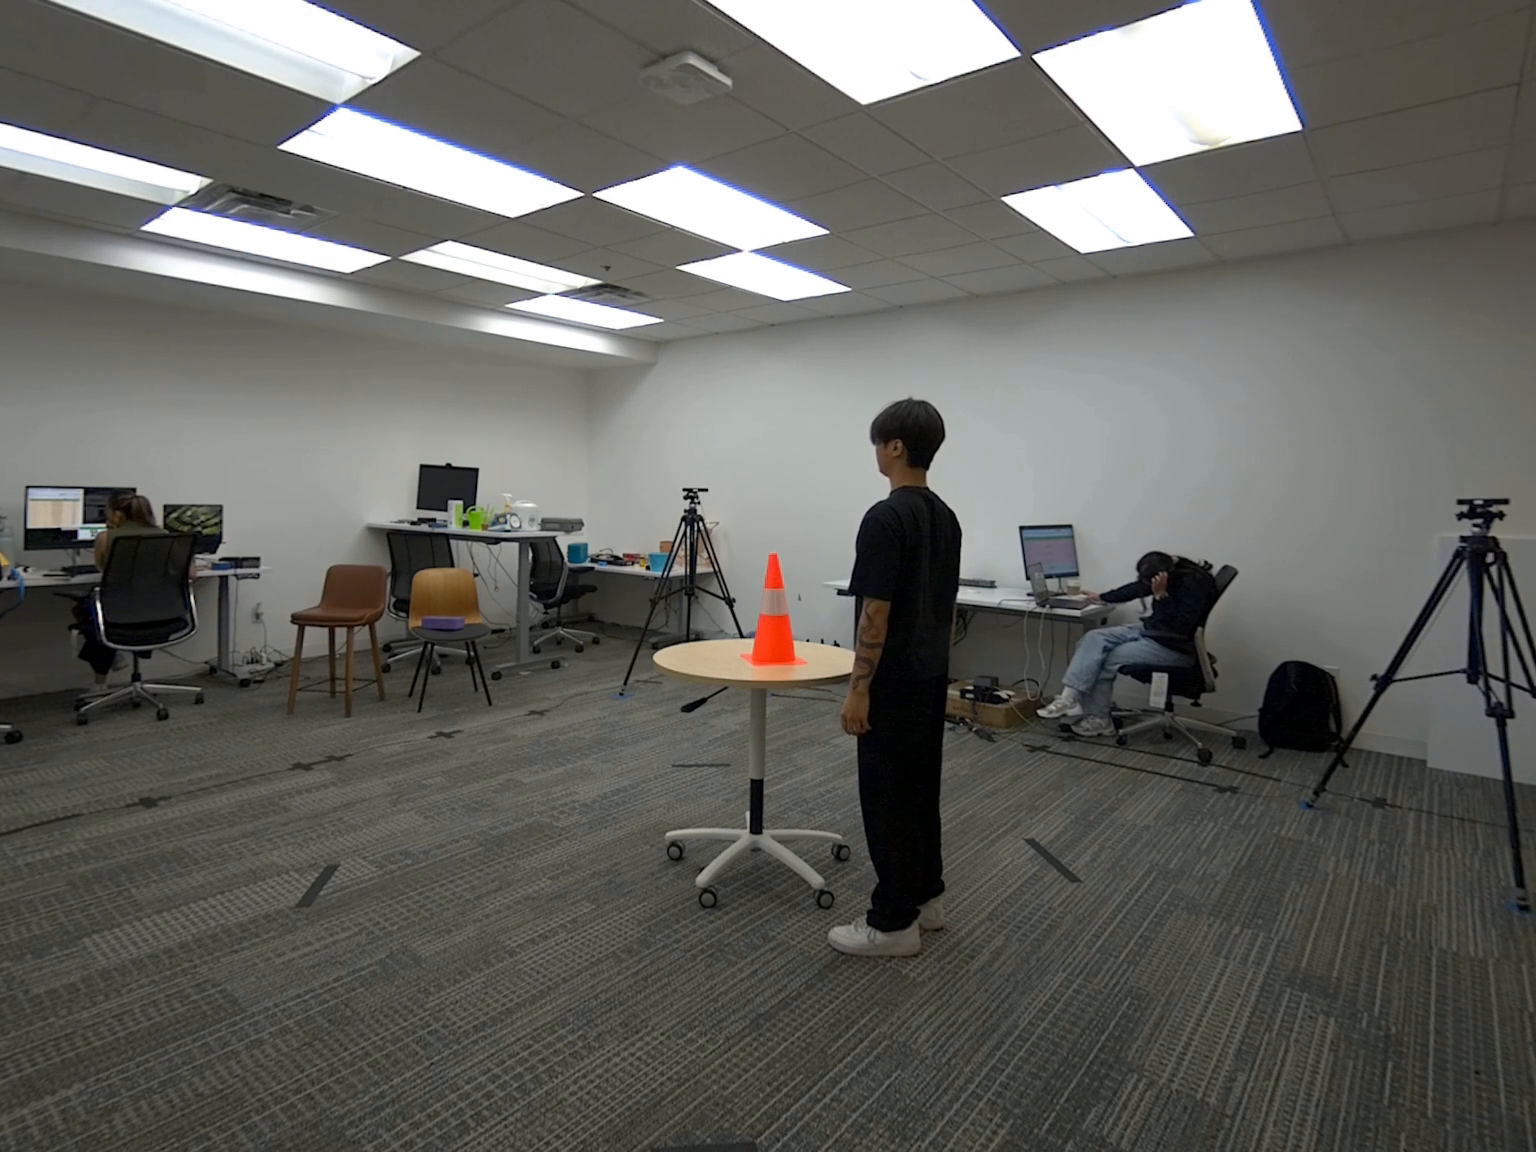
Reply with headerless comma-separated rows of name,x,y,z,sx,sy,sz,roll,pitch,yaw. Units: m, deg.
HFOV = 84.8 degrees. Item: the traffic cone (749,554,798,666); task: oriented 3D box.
traffic cone,0.010,0.109,3.024,0.202,0.382,0.207,-2,4,-17
